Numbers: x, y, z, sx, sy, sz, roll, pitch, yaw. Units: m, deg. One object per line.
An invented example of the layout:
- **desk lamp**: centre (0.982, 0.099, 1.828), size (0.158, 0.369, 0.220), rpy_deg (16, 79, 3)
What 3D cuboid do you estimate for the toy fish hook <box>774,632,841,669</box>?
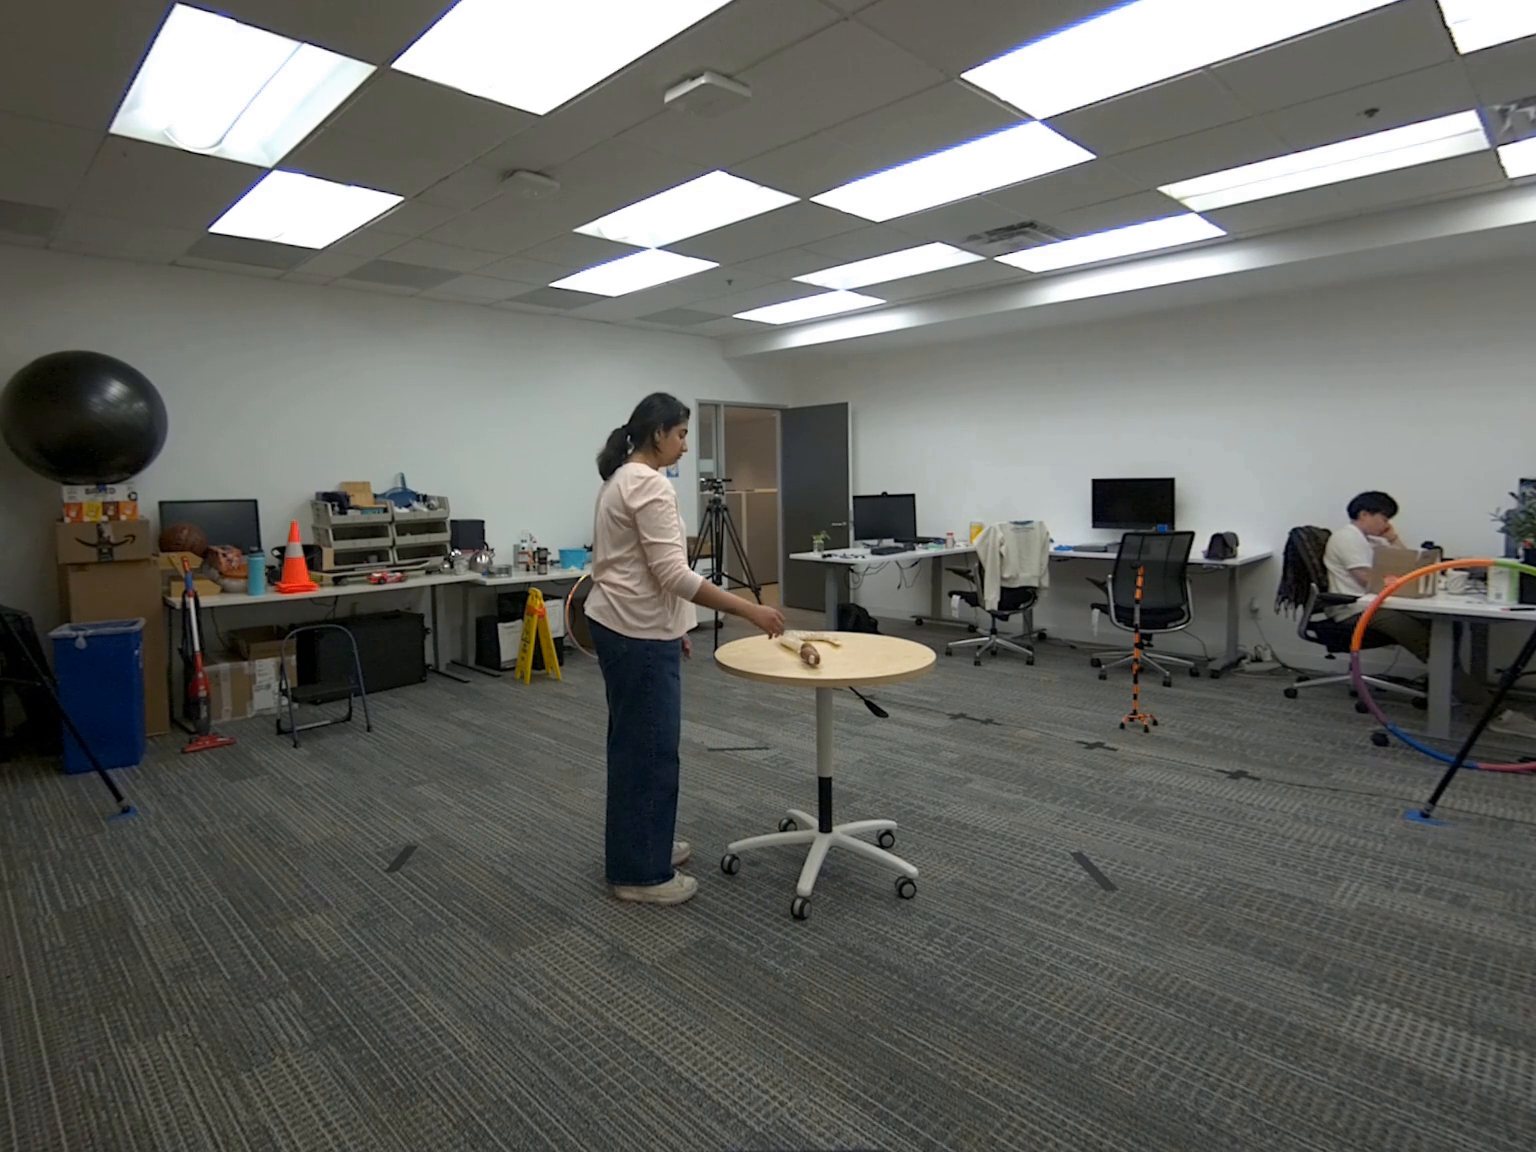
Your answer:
- **toy fish hook**: centre (0.167, 0.248, 2.984), size (0.223, 0.048, 0.512), rpy_deg (-2, 7, -6)
